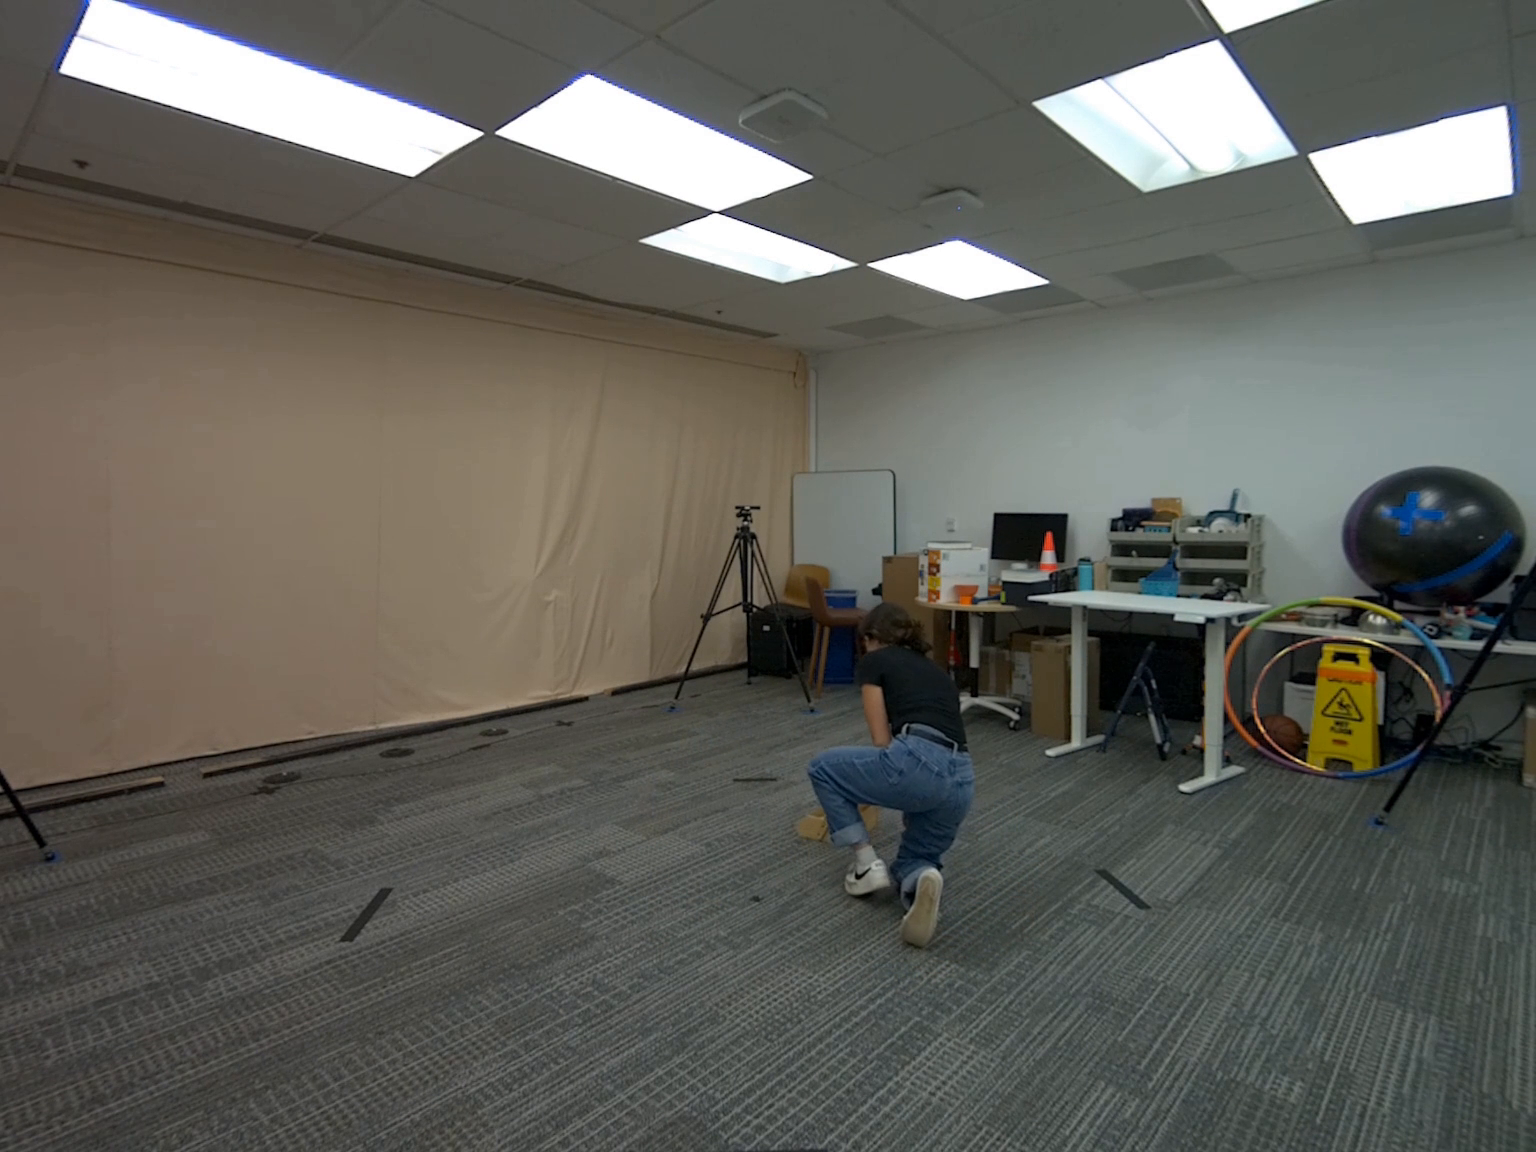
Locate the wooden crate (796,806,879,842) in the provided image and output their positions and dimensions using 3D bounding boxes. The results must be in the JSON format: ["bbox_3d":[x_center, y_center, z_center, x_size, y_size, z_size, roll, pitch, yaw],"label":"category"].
[{"bbox_3d":[0.319,0.956,3.605,0.311,0.273,0.315,3,5,31],"label":"wooden crate"}]
